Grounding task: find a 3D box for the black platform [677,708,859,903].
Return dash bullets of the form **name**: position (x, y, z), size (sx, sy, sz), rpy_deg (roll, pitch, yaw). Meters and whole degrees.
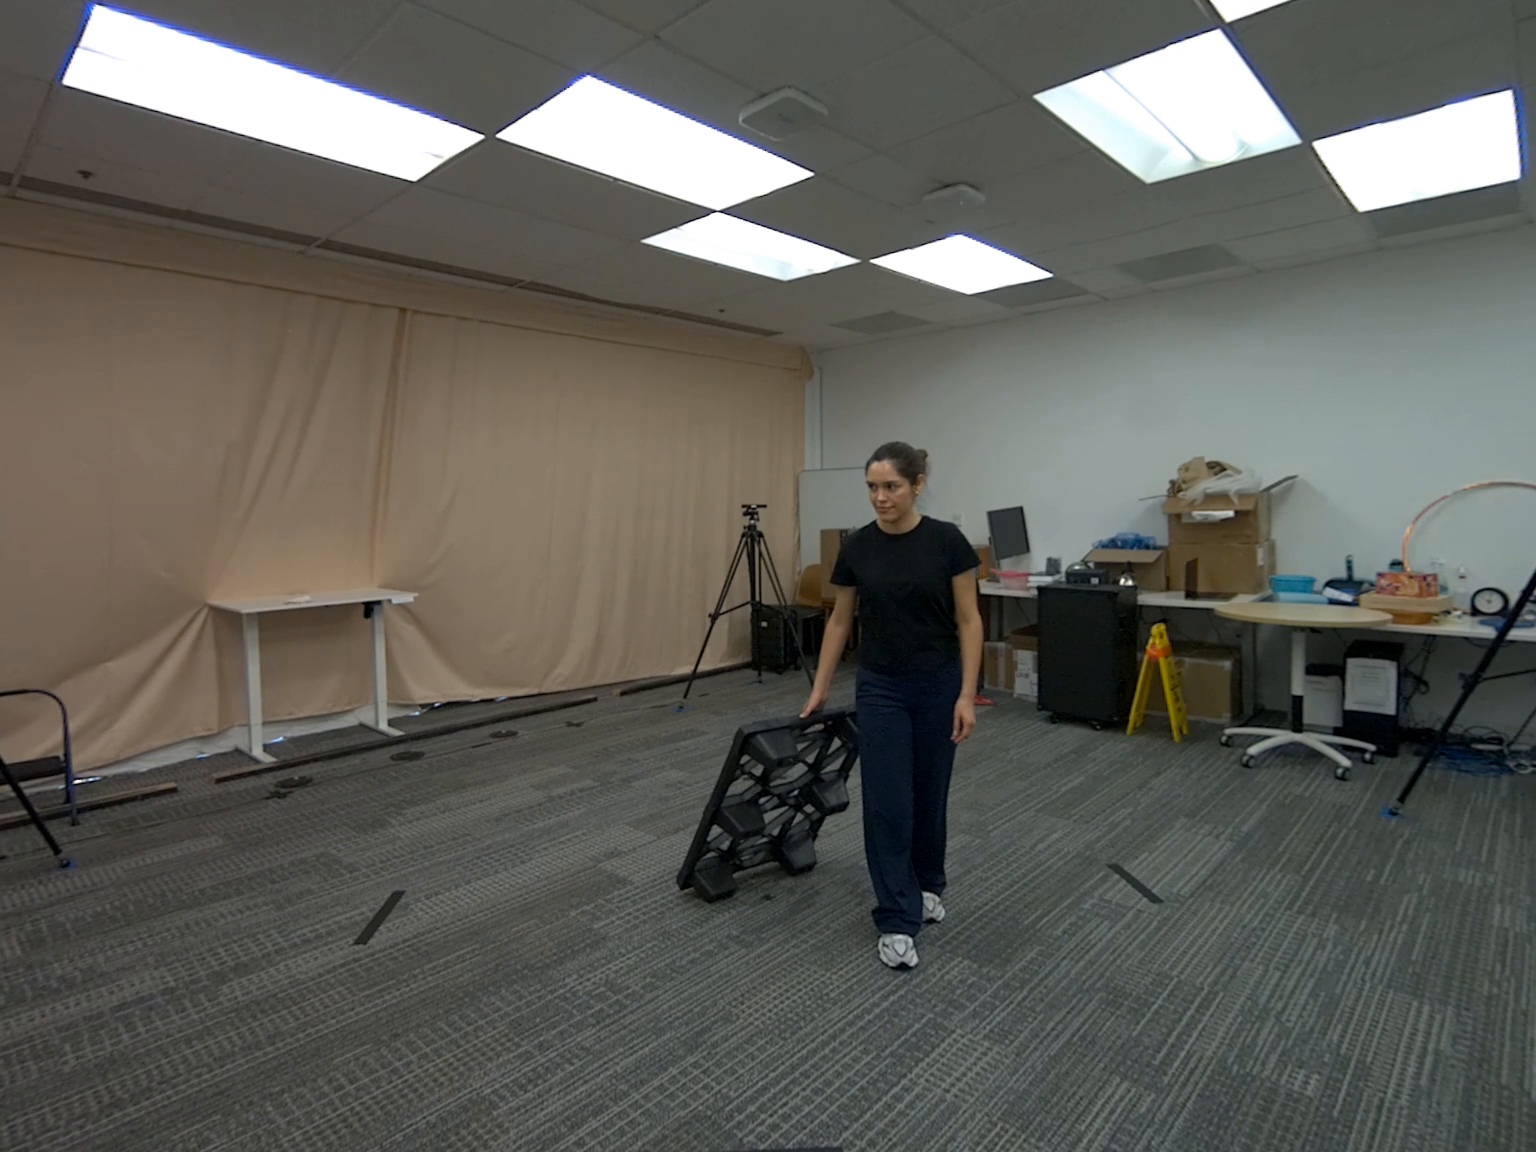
- **black platform**: position (0.071, 0.793, 2.933), size (0.588, 0.800, 0.148), rpy_deg (-4, 38, -34)
